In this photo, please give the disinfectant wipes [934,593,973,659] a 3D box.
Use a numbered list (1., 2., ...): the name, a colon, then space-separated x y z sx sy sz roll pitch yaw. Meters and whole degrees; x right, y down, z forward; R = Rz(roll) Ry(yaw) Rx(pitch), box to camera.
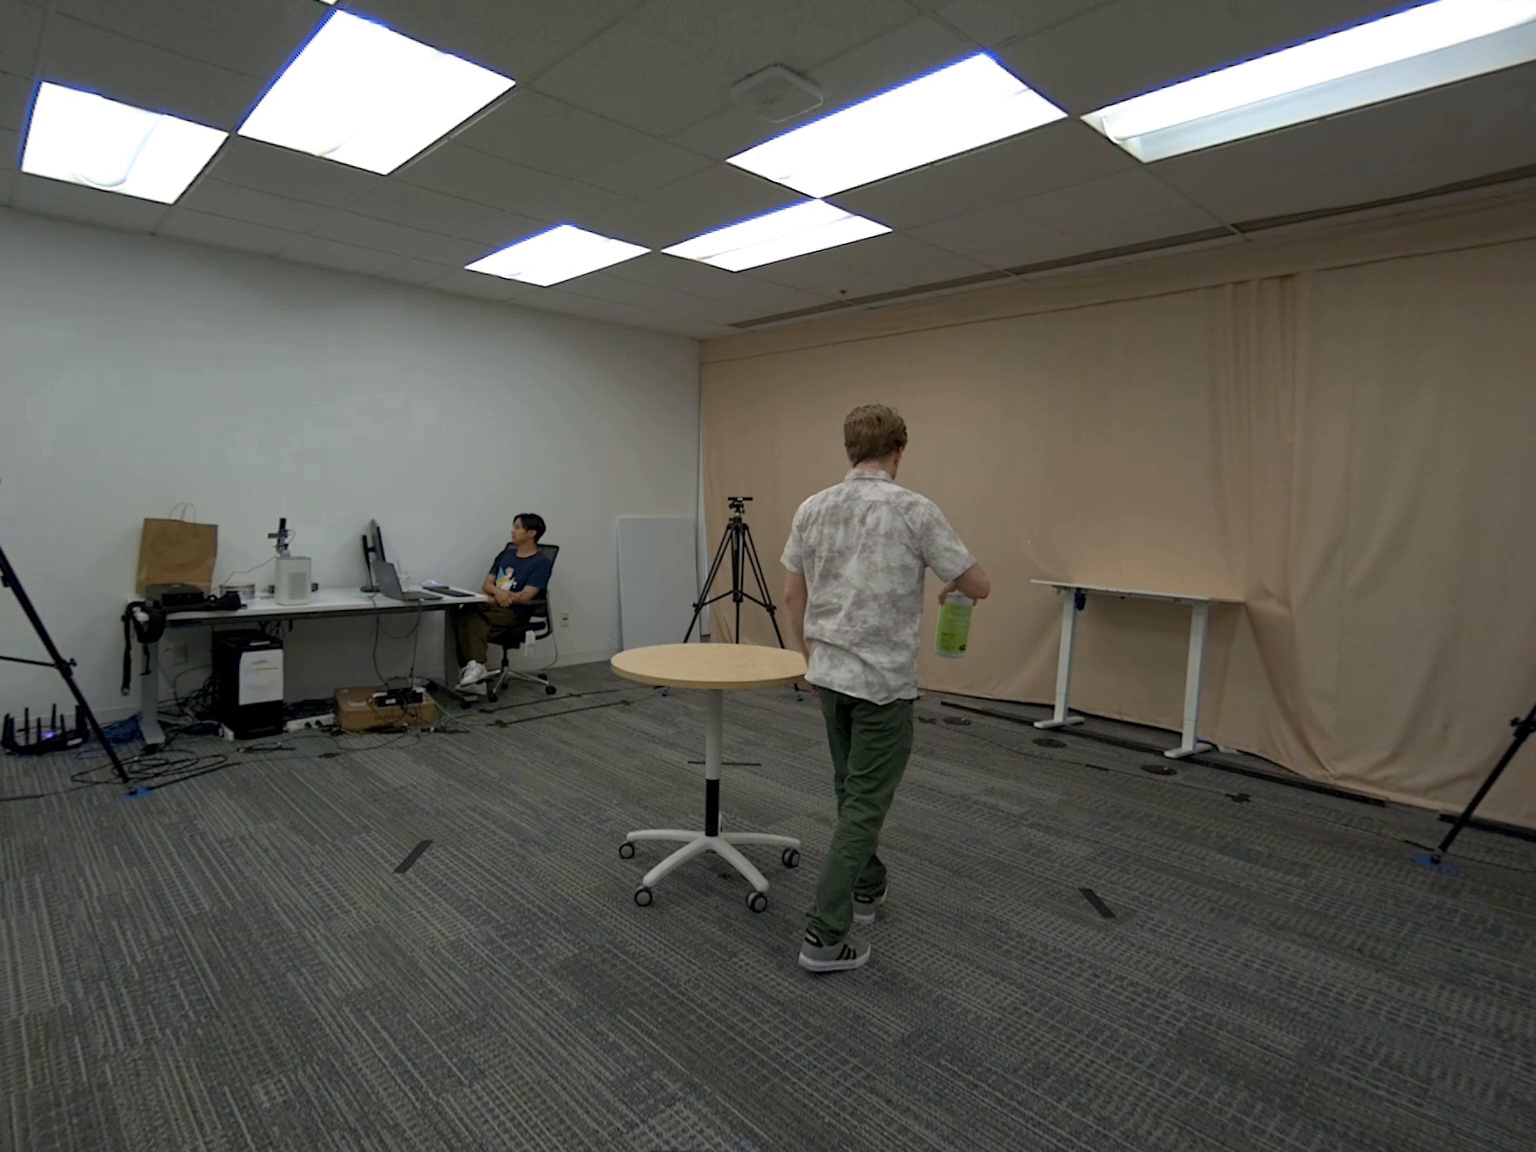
1. disinfectant wipes: 0.629 0.169 2.900 0.117 0.216 0.119 6 10 -2
